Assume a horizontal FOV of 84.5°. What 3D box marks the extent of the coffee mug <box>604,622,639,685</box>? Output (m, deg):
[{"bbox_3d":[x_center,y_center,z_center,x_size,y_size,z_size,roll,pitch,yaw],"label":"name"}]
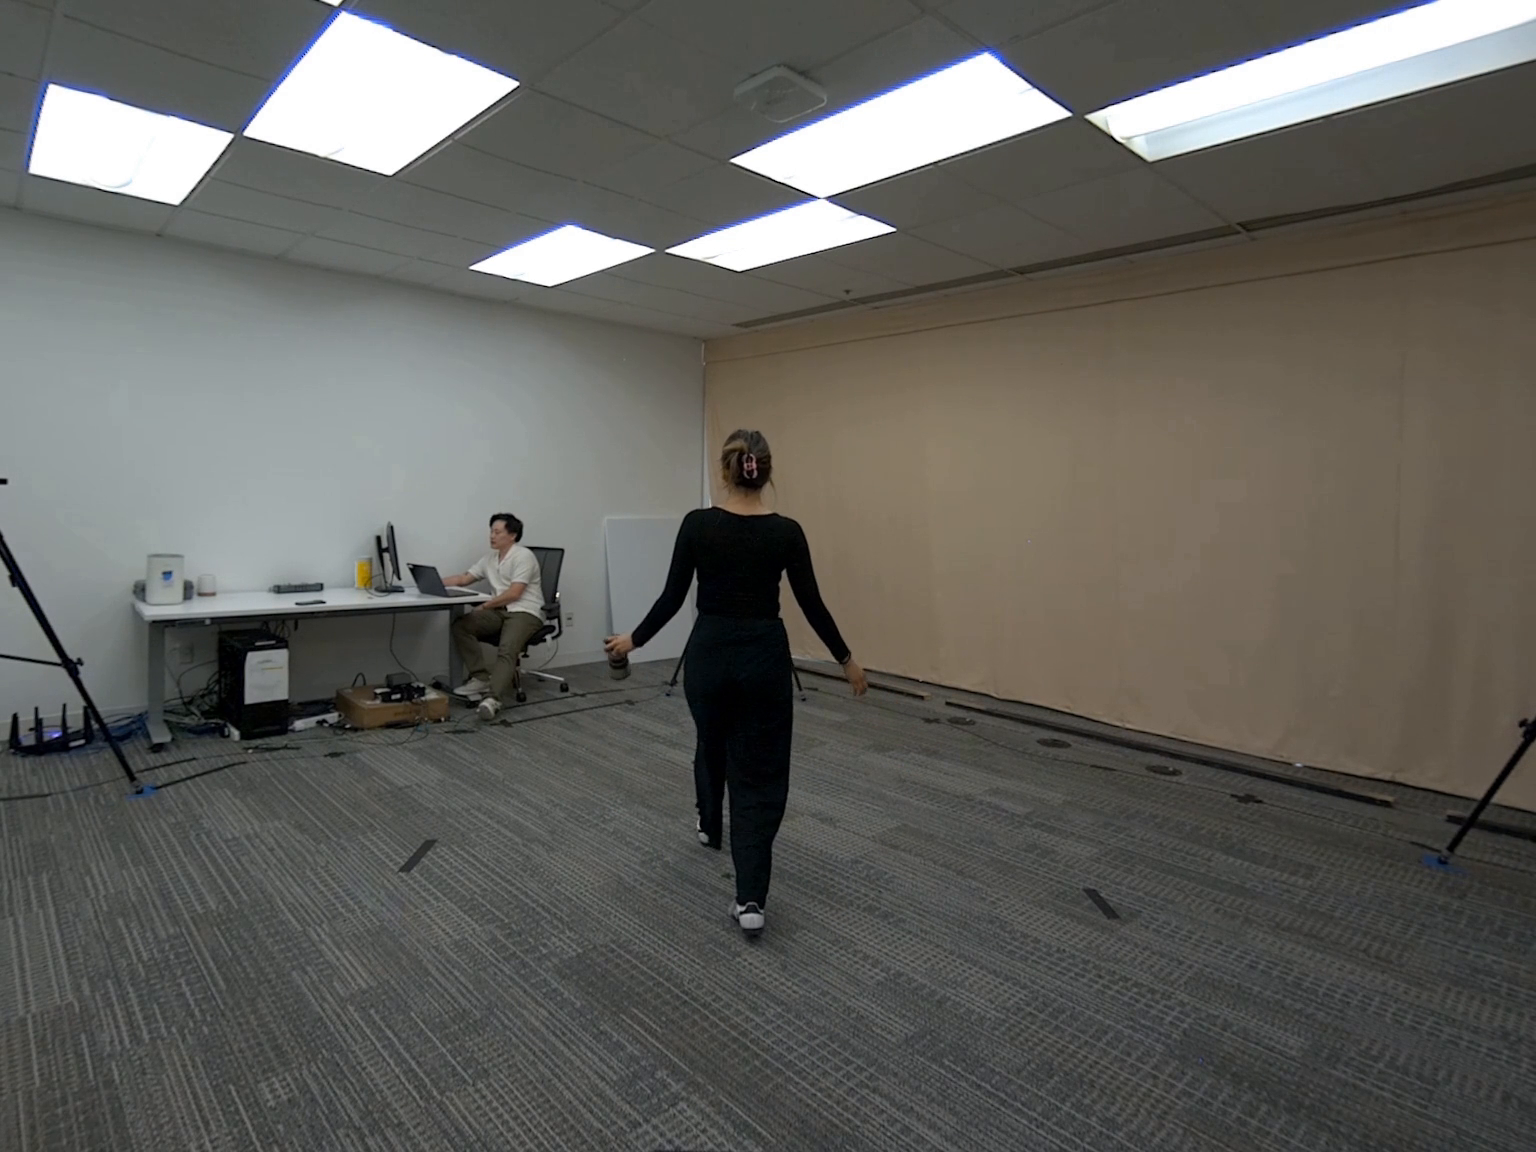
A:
[{"bbox_3d":[-0.558,0.293,3.206,0.087,0.198,0.125,-12,48,-12],"label":"coffee mug"}]
